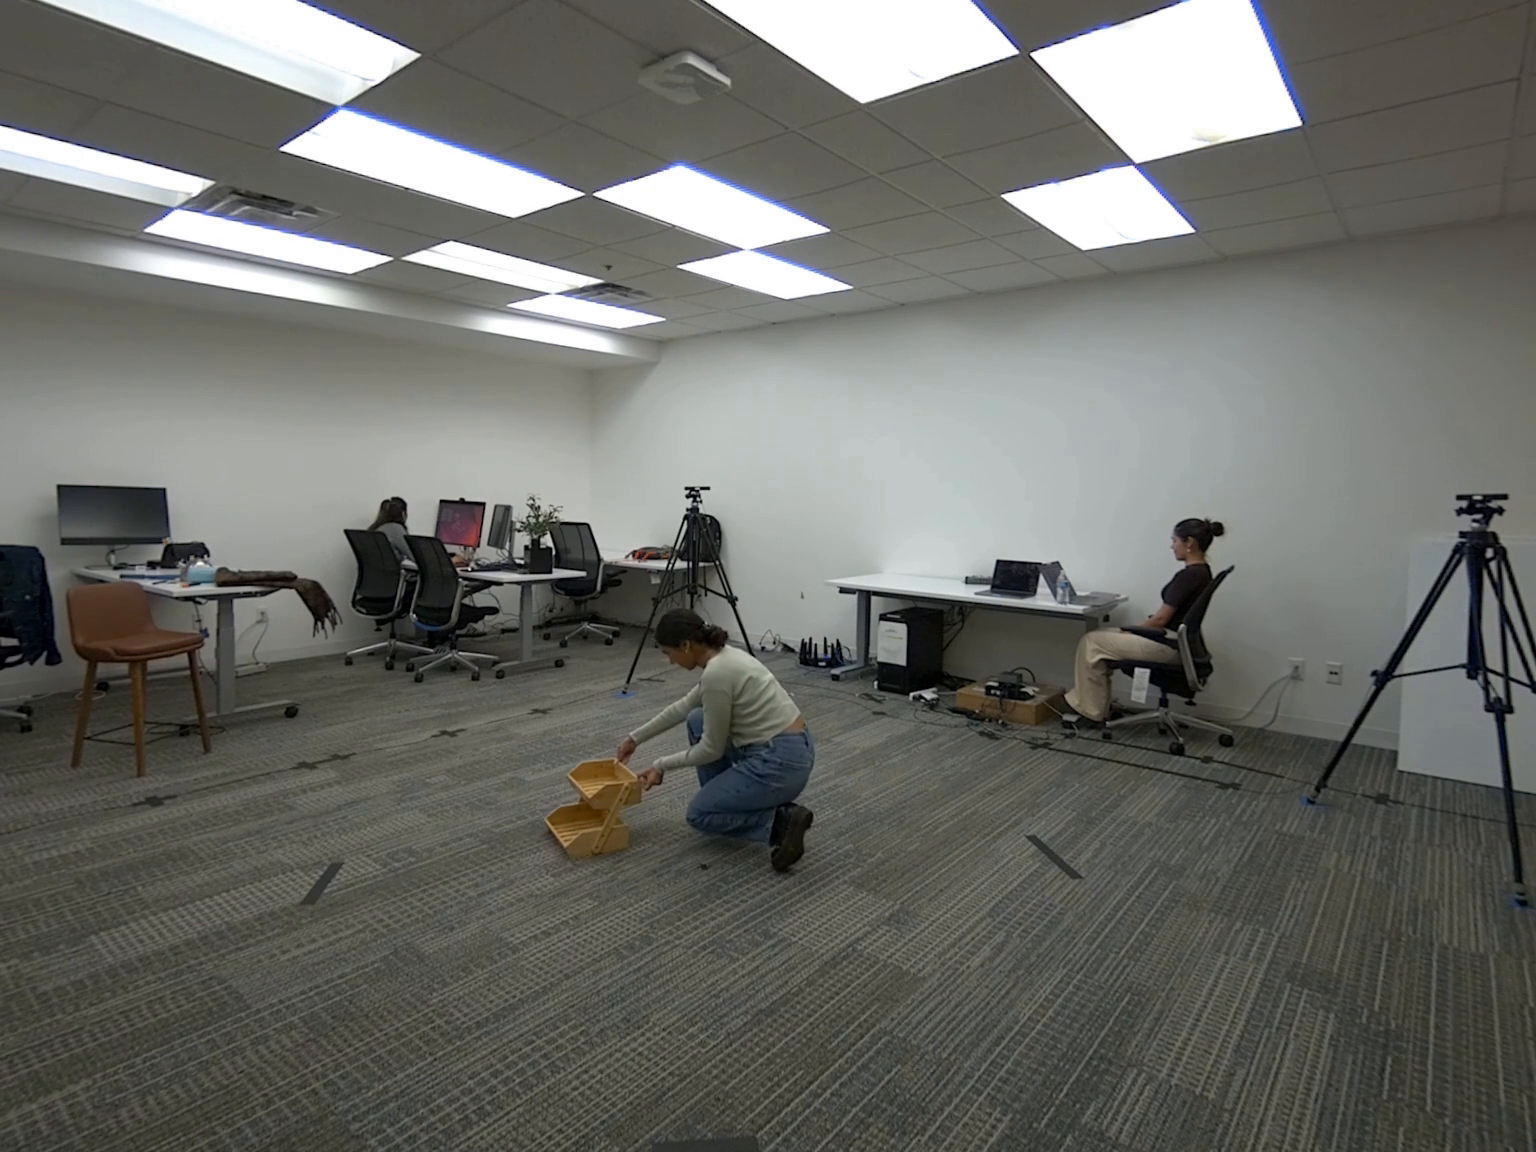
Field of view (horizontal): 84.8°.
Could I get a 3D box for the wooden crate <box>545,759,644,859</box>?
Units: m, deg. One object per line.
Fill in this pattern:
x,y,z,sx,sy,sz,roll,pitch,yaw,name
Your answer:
-0.710,0.900,3.357,0.294,0.272,0.334,-1,5,-29,wooden crate
